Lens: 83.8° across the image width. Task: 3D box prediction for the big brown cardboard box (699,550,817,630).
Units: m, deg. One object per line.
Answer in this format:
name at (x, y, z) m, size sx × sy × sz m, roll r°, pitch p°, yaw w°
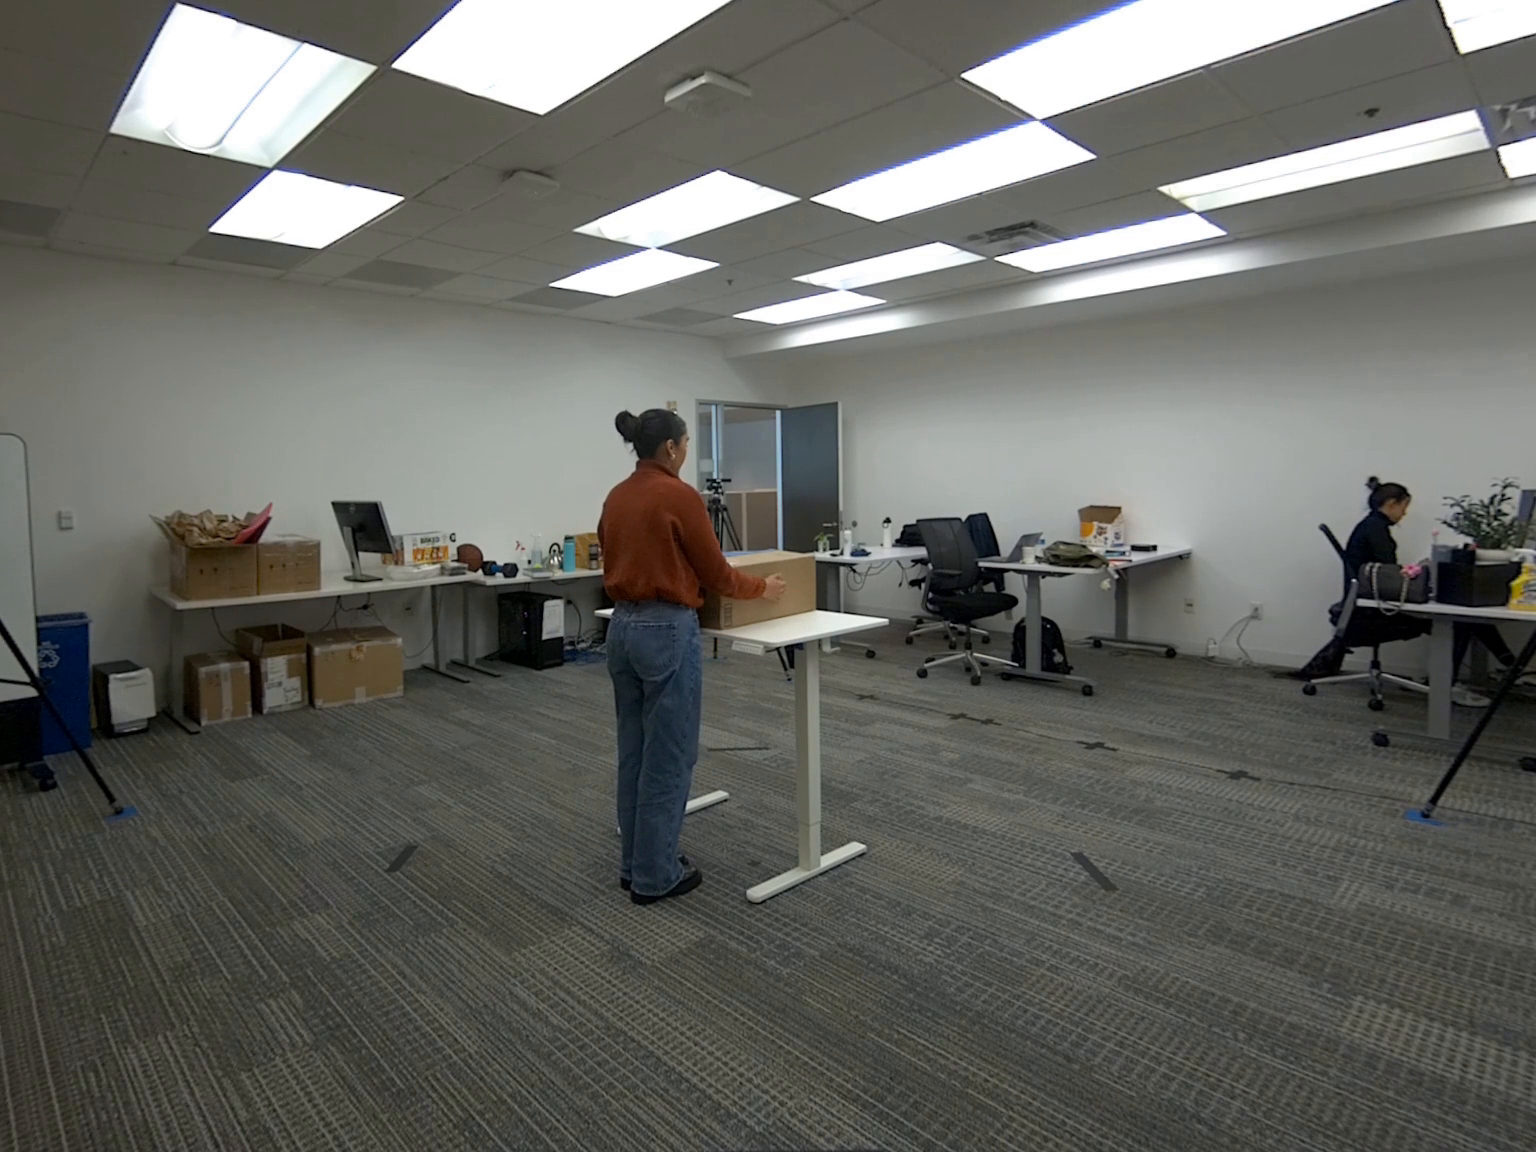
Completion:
big brown cardboard box at (-0.150, 0.039, 3.243) m, size 0.430 × 0.232 × 0.573 m, roll 3°, pitch 6°, yaw 39°
